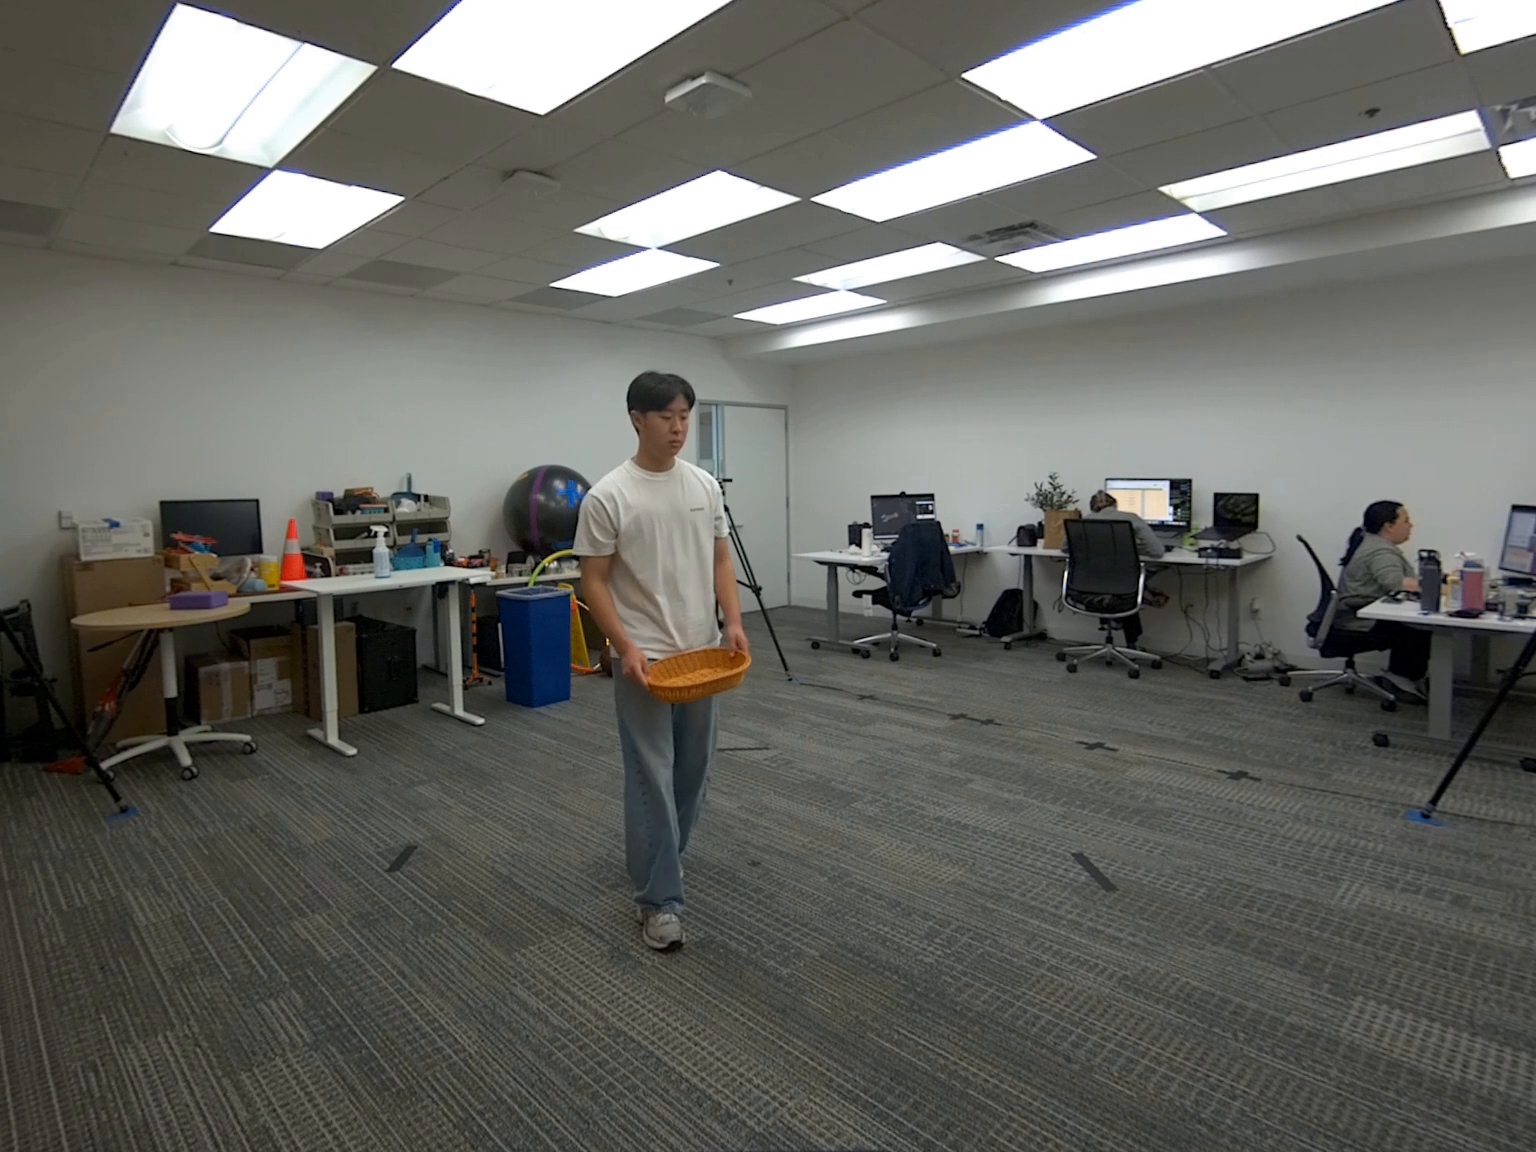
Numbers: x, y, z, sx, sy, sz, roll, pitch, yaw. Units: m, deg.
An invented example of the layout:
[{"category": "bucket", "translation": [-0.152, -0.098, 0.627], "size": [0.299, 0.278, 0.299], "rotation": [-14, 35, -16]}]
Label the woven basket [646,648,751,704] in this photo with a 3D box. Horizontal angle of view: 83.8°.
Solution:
[{"category": "woven basket", "translation": [-0.250, 0.309, 2.594], "size": [0.344, 0.072, 0.261], "rotation": [-13, 18, -29]}]
